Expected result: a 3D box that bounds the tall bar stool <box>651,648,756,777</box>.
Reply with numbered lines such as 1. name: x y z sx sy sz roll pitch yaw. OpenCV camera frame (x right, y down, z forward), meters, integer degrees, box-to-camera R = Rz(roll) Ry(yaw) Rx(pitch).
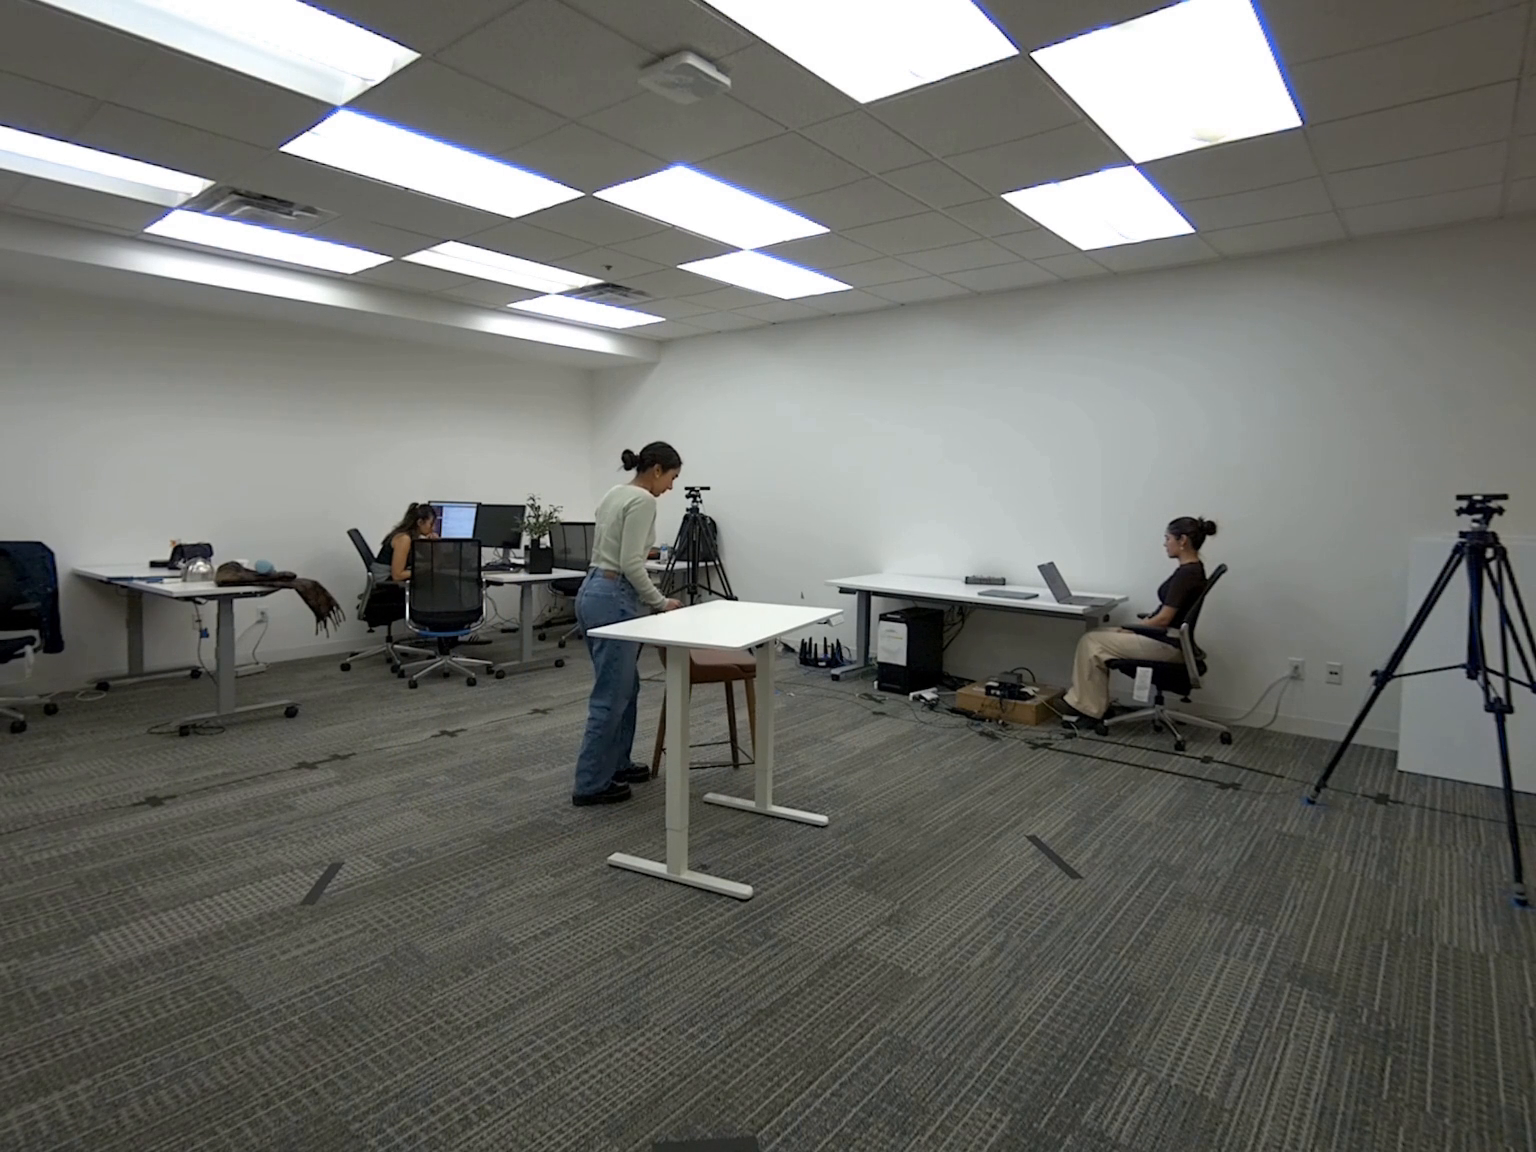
1. tall bar stool: -0.305 0.542 3.955 0.459 0.887 0.466 -2 4 -19
